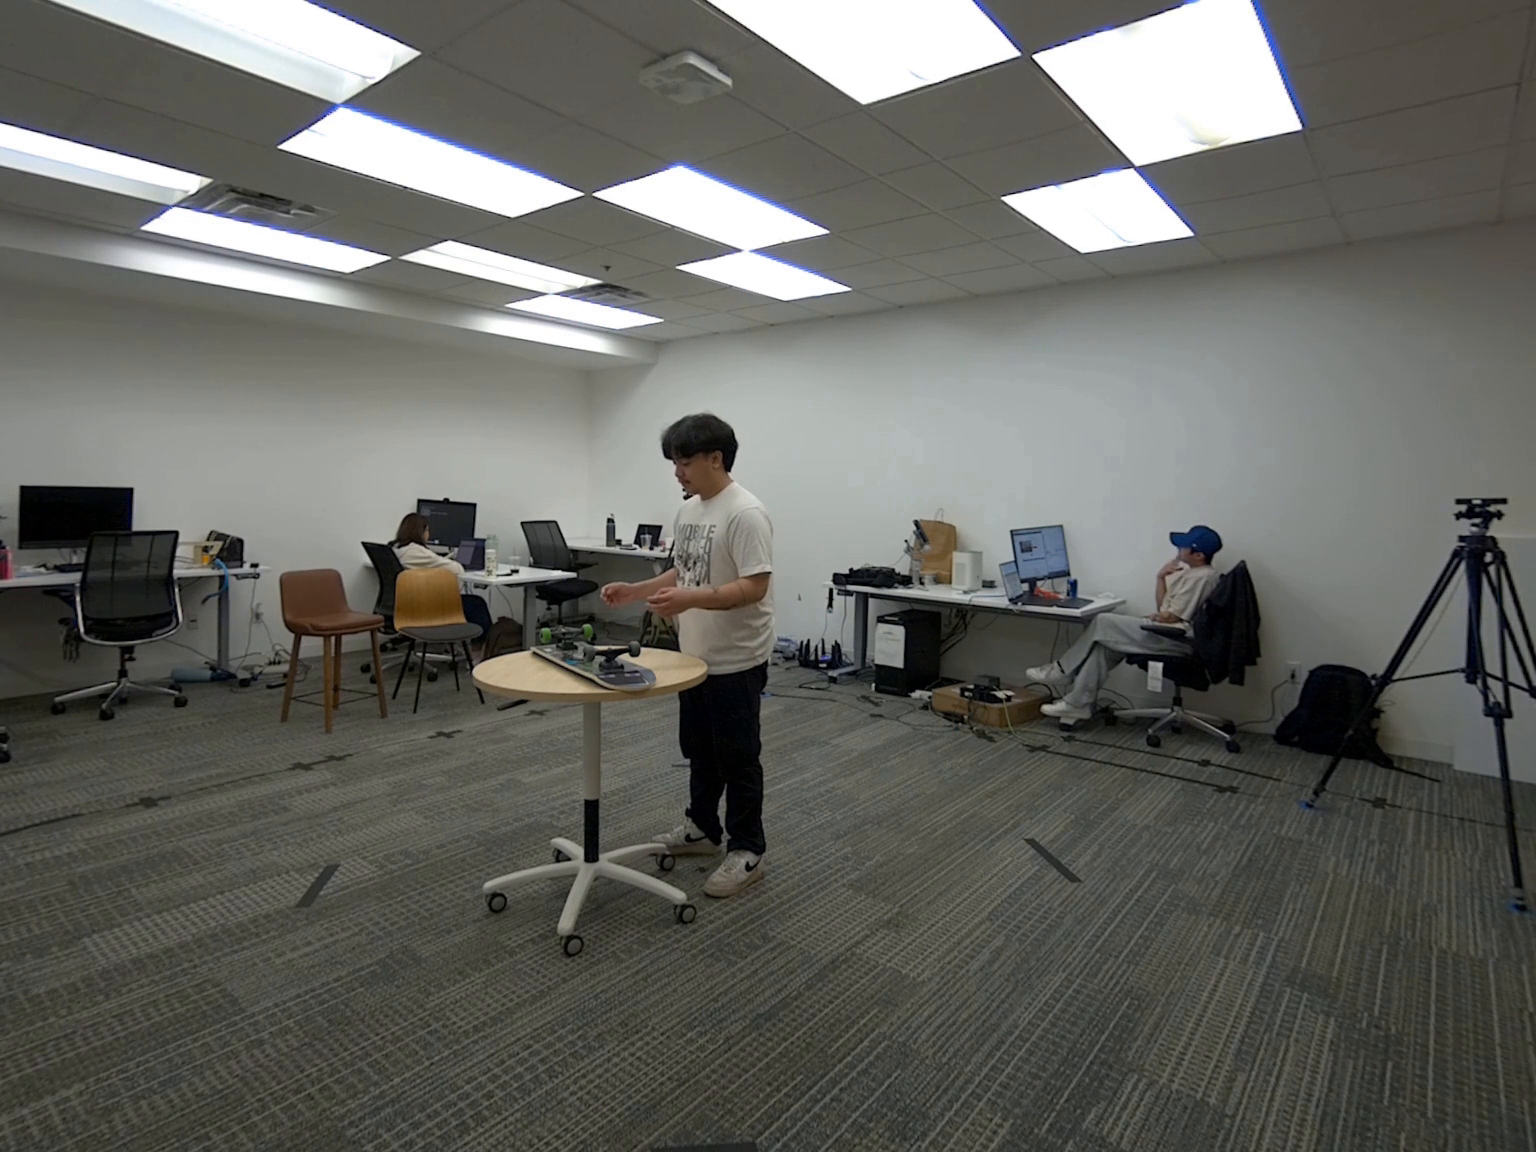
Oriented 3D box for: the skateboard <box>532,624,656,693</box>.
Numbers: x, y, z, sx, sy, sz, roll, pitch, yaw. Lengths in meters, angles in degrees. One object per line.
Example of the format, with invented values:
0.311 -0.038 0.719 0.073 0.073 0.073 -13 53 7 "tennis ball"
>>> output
-0.611 0.250 2.811 0.188 0.110 0.810 -3 7 -32 "skateboard"
